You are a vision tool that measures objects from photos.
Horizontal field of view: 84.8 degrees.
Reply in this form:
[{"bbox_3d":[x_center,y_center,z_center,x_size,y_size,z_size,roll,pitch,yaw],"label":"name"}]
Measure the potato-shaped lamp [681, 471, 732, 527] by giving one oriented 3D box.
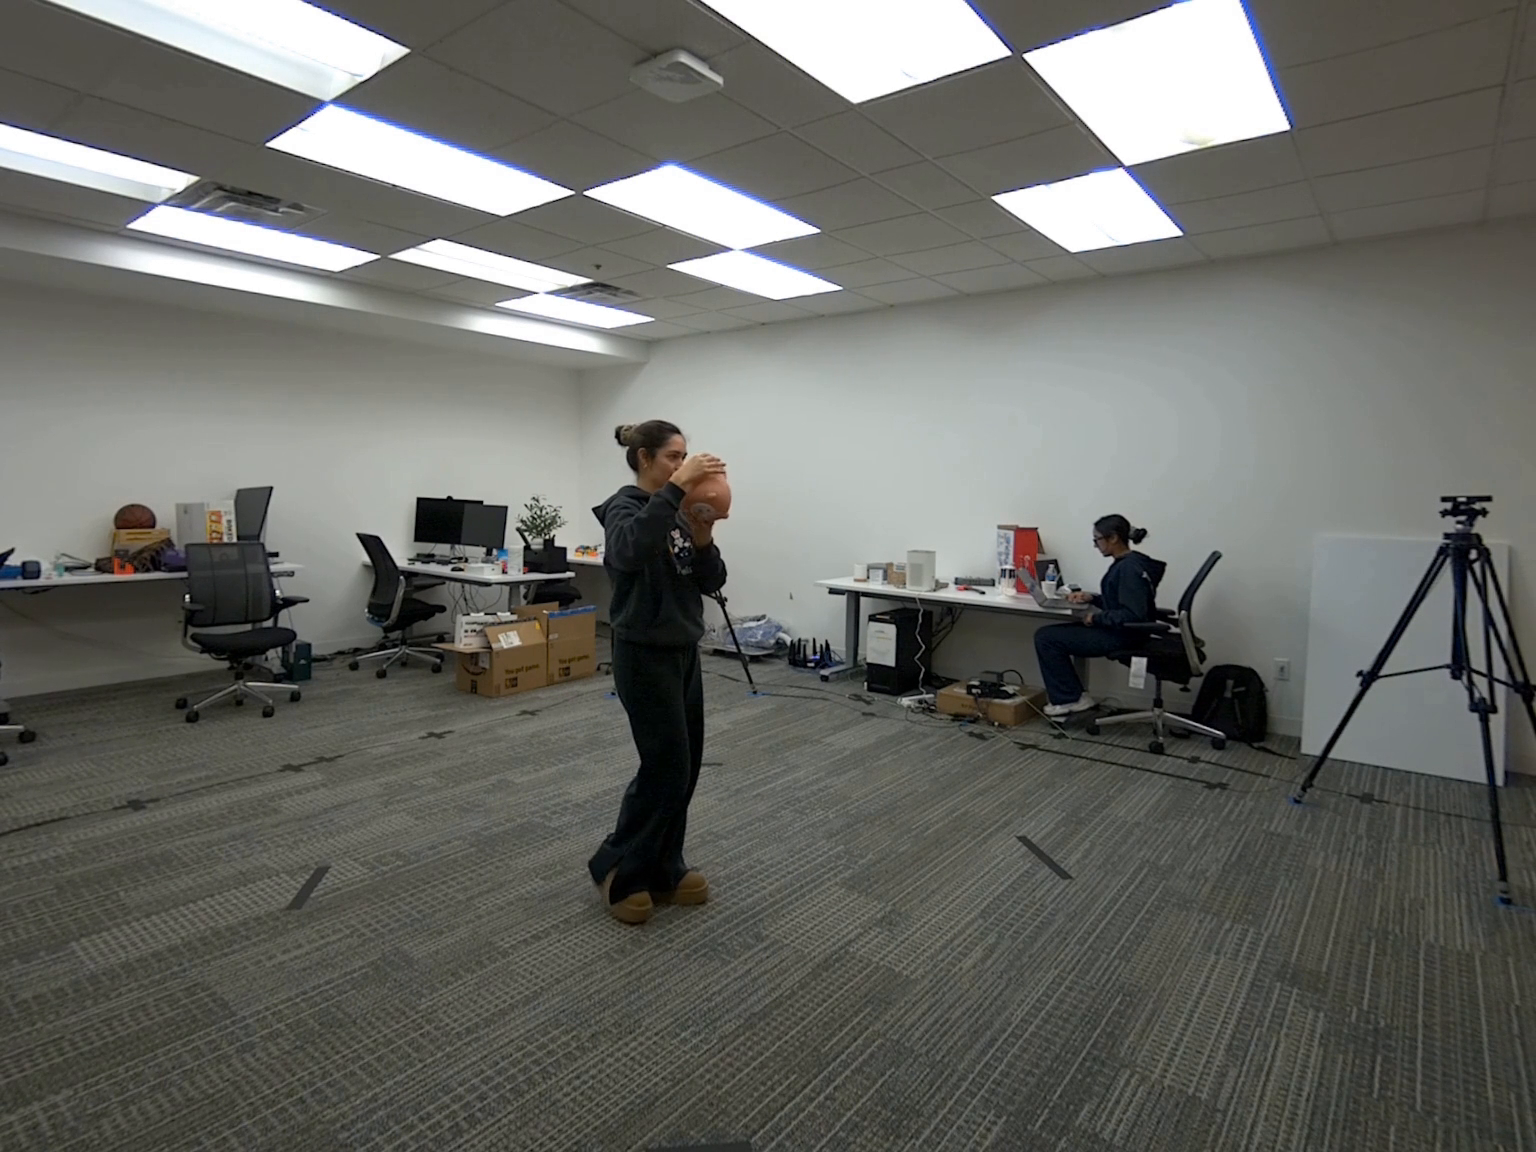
[{"bbox_3d":[-0.203,-0.279,2.617,0.167,0.204,0.164,-20,-34,21],"label":"potato-shaped lamp"}]
